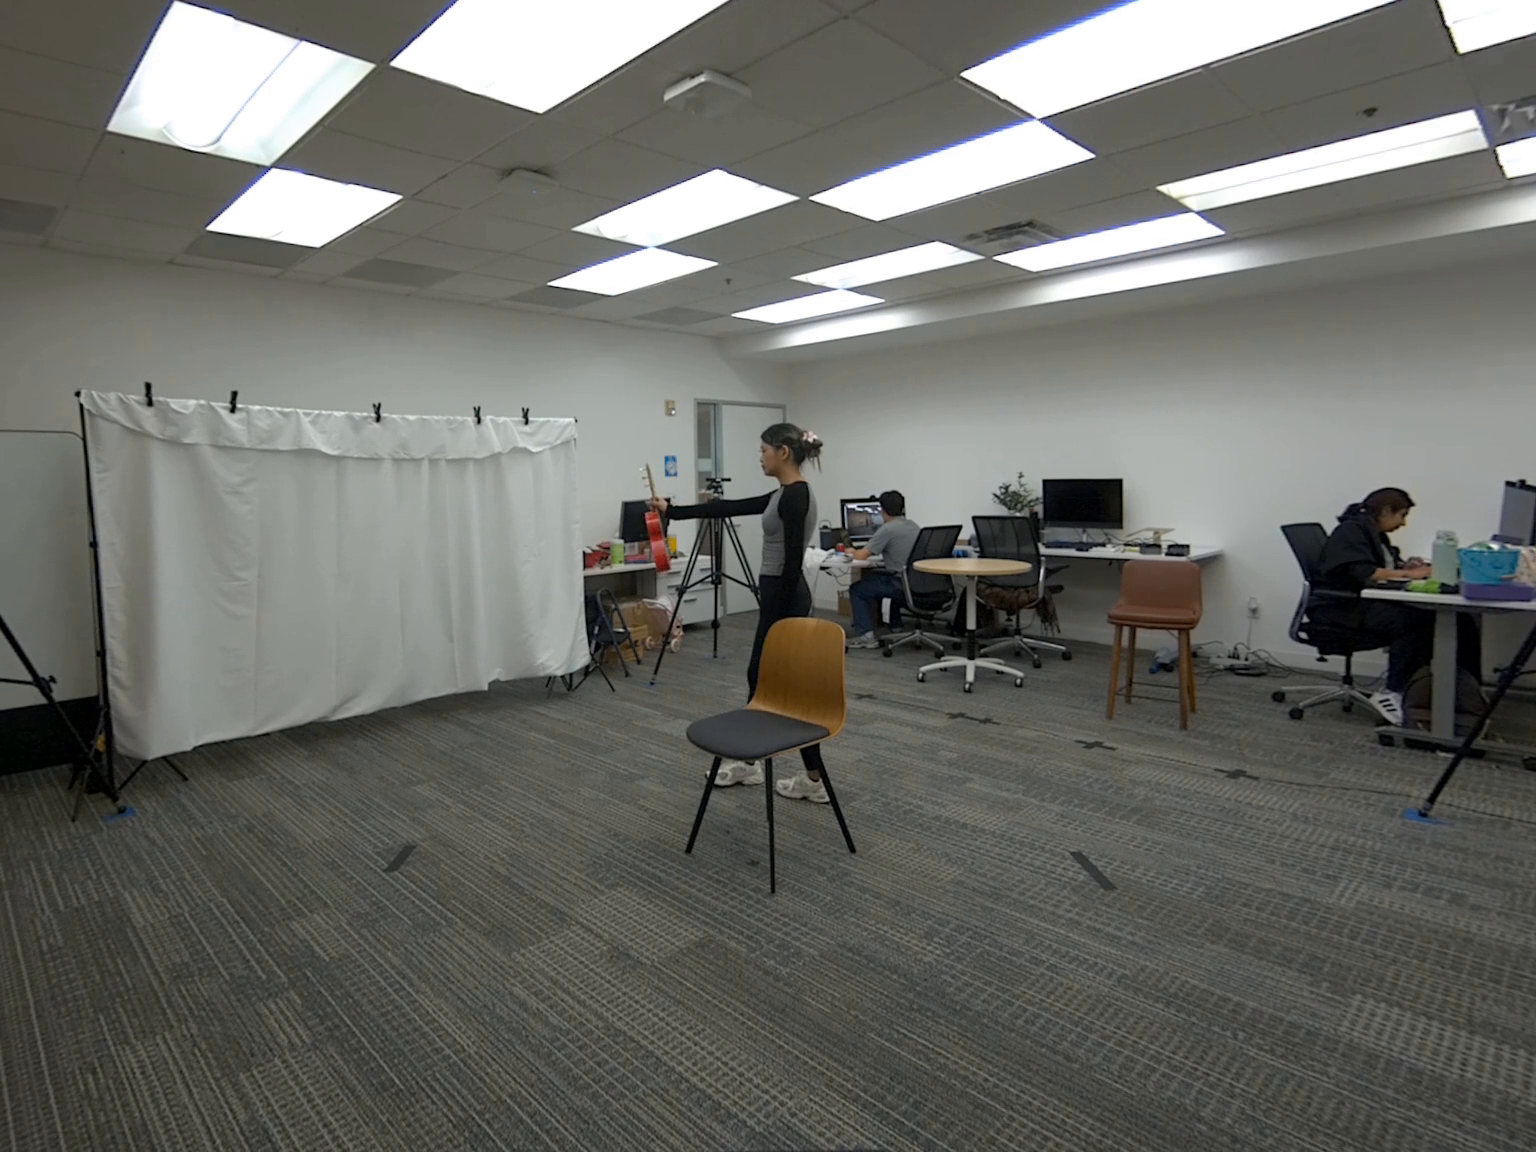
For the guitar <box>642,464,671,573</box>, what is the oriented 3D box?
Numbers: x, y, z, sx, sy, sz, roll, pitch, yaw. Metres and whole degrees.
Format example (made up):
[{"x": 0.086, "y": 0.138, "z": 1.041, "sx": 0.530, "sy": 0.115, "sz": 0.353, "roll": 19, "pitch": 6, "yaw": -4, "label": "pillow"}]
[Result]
[{"x": -0.518, "y": -0.269, "z": 3.931, "sx": 0.071, "sy": 0.500, "sz": 0.192, "roll": -12, "pitch": -4, "yaw": 1, "label": "guitar"}]
